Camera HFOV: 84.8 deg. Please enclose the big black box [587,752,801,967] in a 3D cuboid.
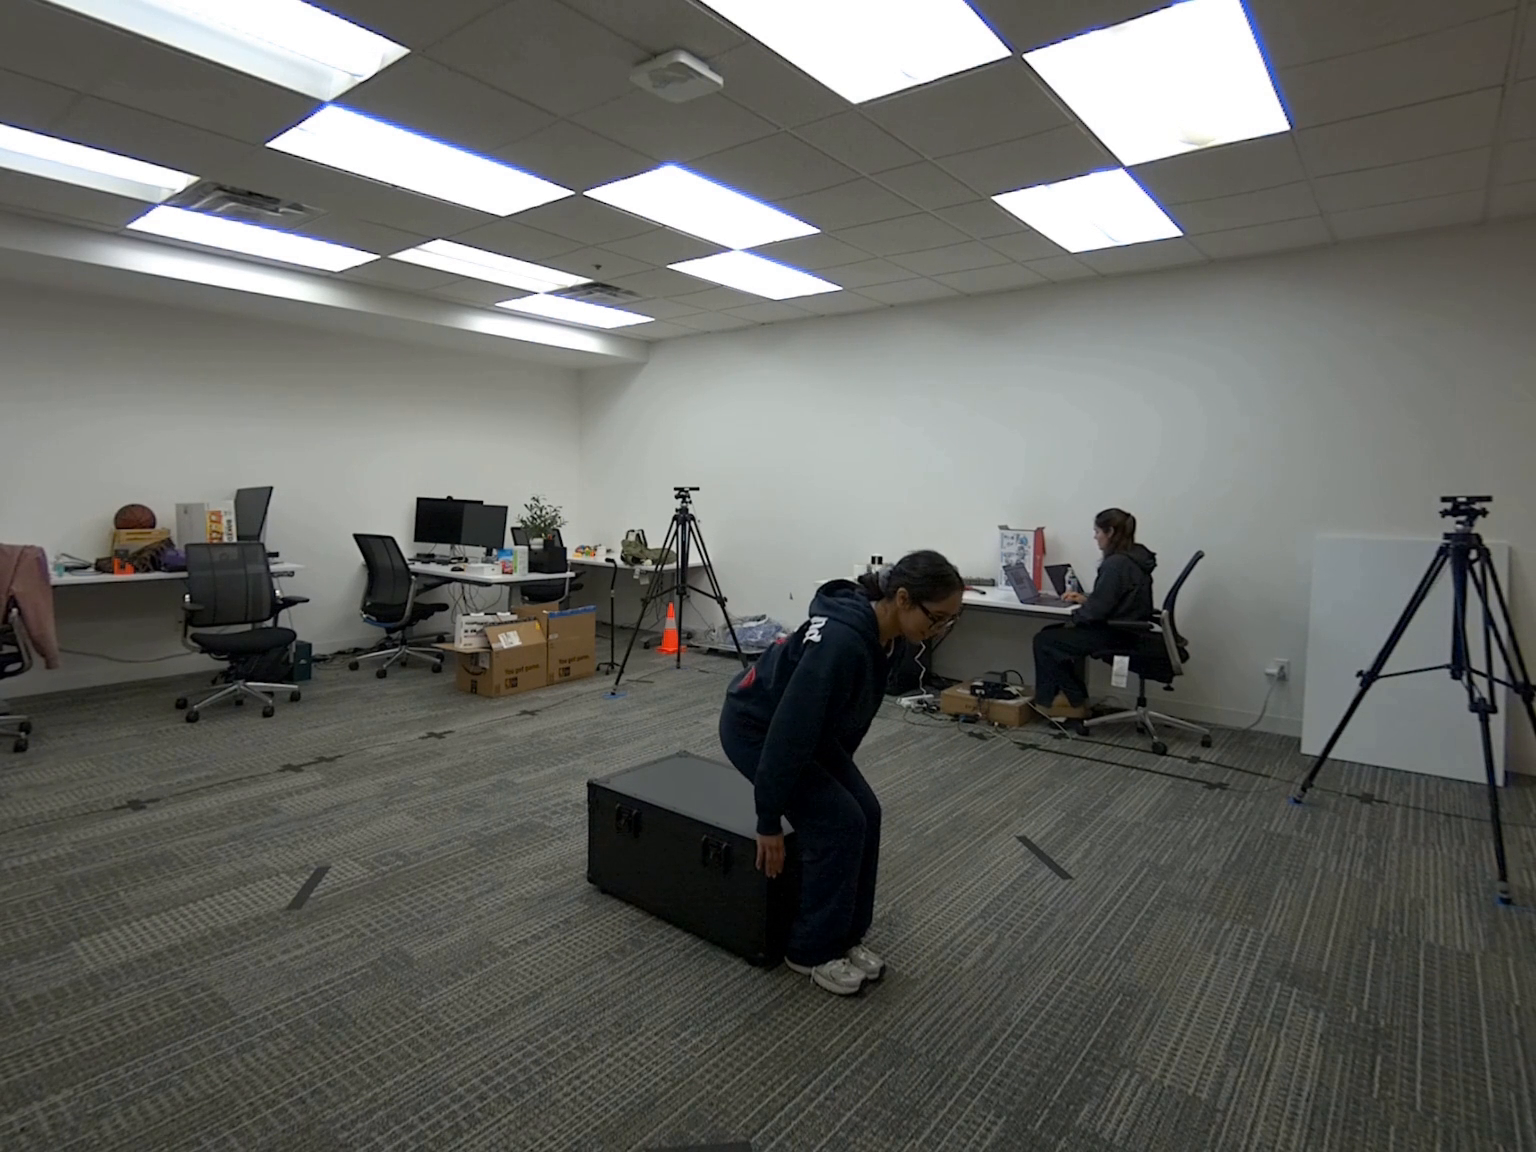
[{"bbox_3d":[-0.203,0.898,2.880,0.891,0.395,0.506,6,6,38],"label":"big black box"}]
